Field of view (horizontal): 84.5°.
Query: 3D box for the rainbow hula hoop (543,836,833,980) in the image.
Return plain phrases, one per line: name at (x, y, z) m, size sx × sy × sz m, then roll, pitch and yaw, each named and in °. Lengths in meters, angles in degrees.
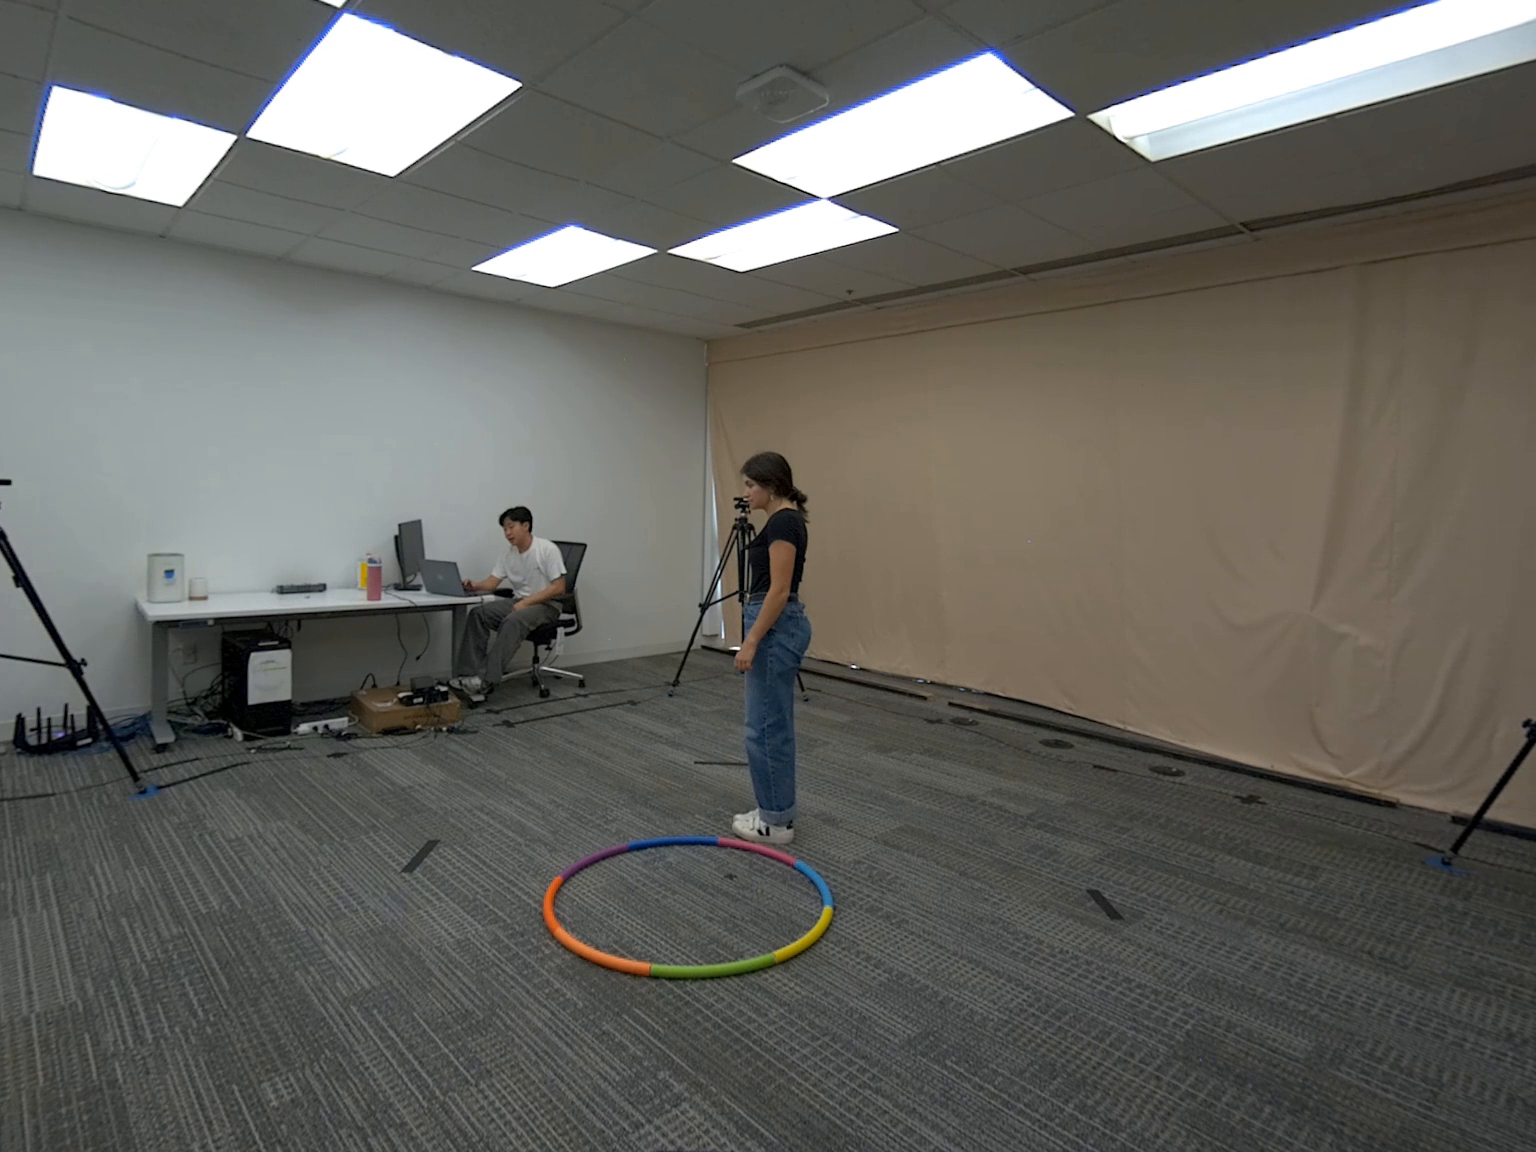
rainbow hula hoop at (-0.272, 1.094, 2.907) m, size 0.978 × 0.035 × 0.982 m, roll 1°, pitch 5°, yaw -1°
